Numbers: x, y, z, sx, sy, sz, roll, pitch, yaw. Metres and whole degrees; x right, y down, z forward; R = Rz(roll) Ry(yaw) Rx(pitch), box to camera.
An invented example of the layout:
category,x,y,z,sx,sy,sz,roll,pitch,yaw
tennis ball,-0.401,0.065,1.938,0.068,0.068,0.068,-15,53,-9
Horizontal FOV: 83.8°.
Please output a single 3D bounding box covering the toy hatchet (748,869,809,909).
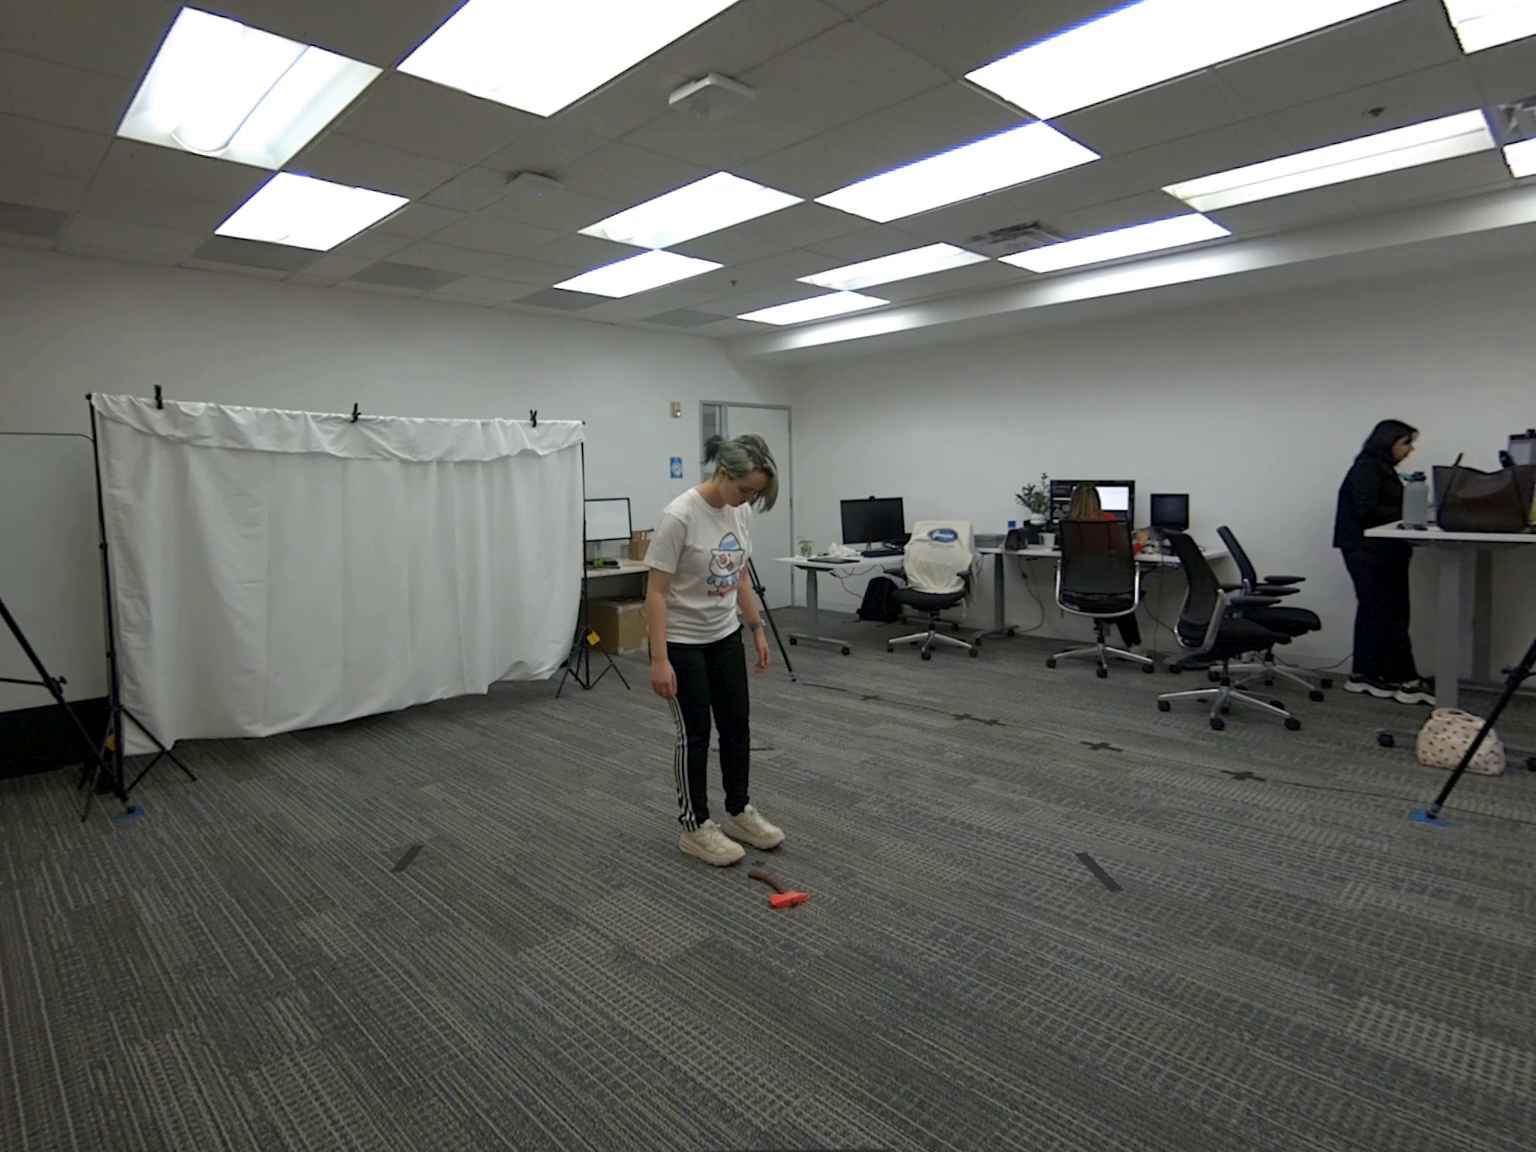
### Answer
category,x,y,z,sx,sy,sz,roll,pitch,yaw
toy hatchet,0.006,1.062,2.886,0.128,0.029,0.278,-9,8,-40
